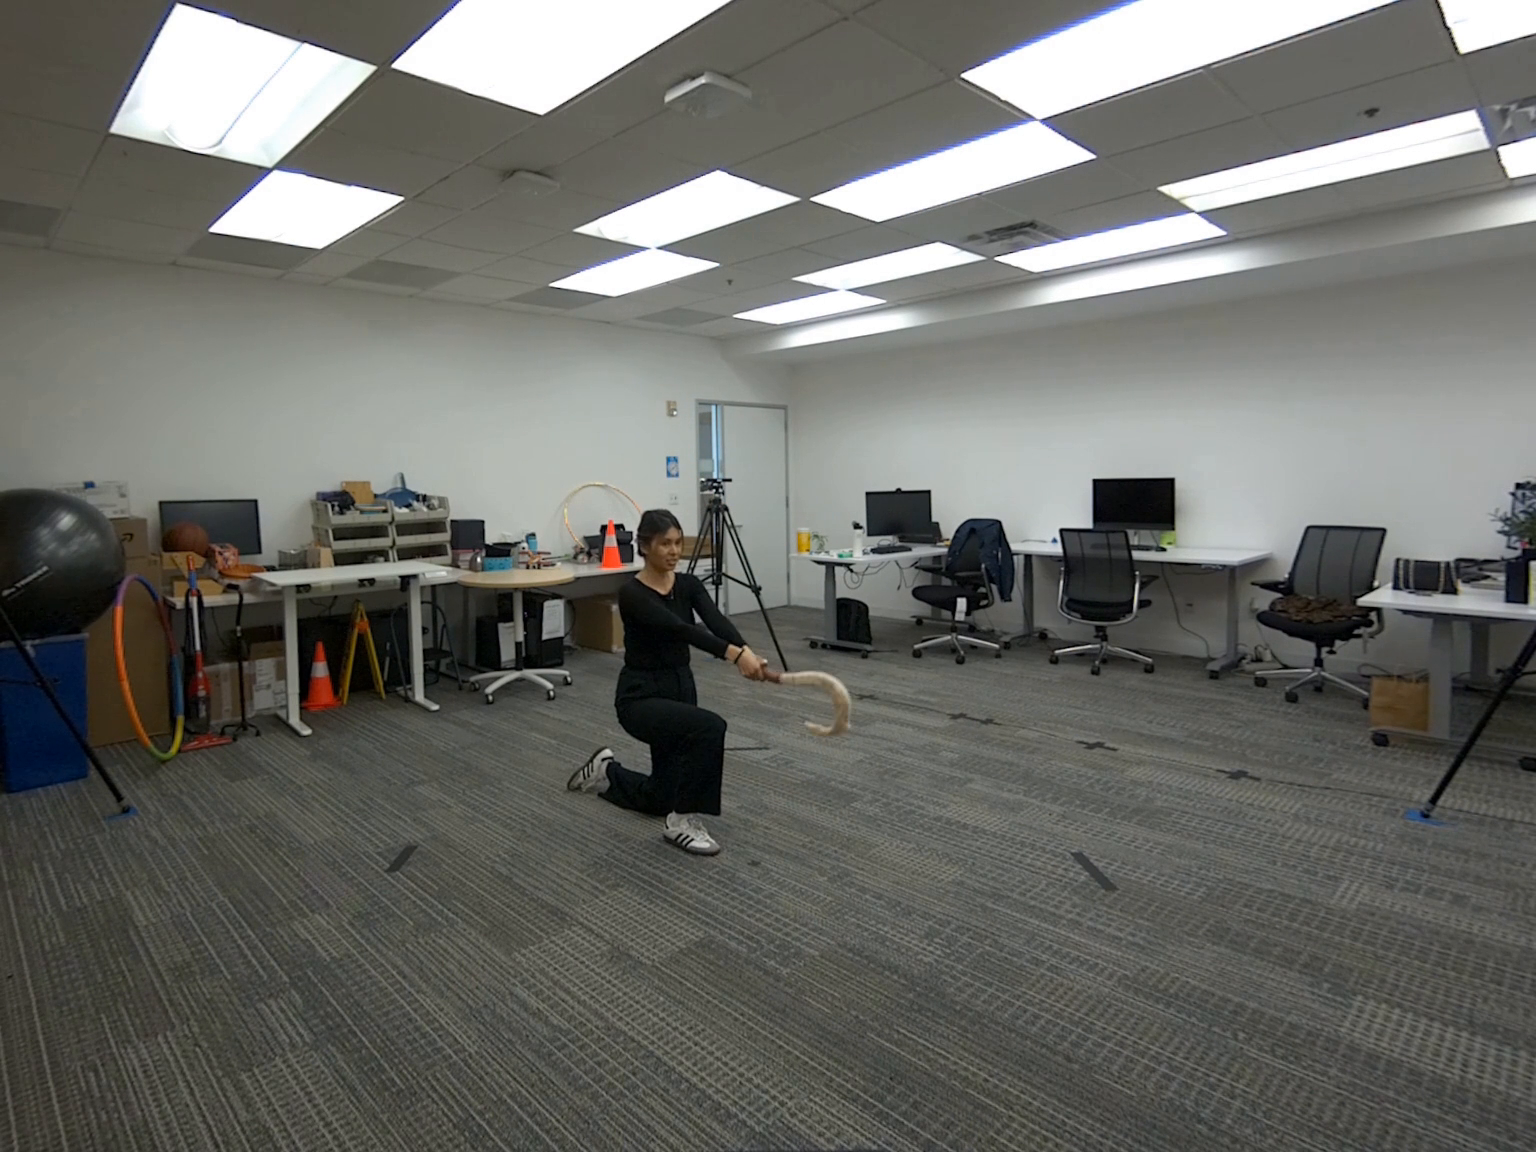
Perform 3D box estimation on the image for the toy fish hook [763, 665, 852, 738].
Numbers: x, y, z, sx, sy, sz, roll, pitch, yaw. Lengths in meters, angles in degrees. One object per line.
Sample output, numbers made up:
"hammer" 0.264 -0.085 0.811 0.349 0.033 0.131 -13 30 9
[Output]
"toy fish hook" 0.083 0.397 2.970 0.047 0.223 0.524 -1 8 -43
